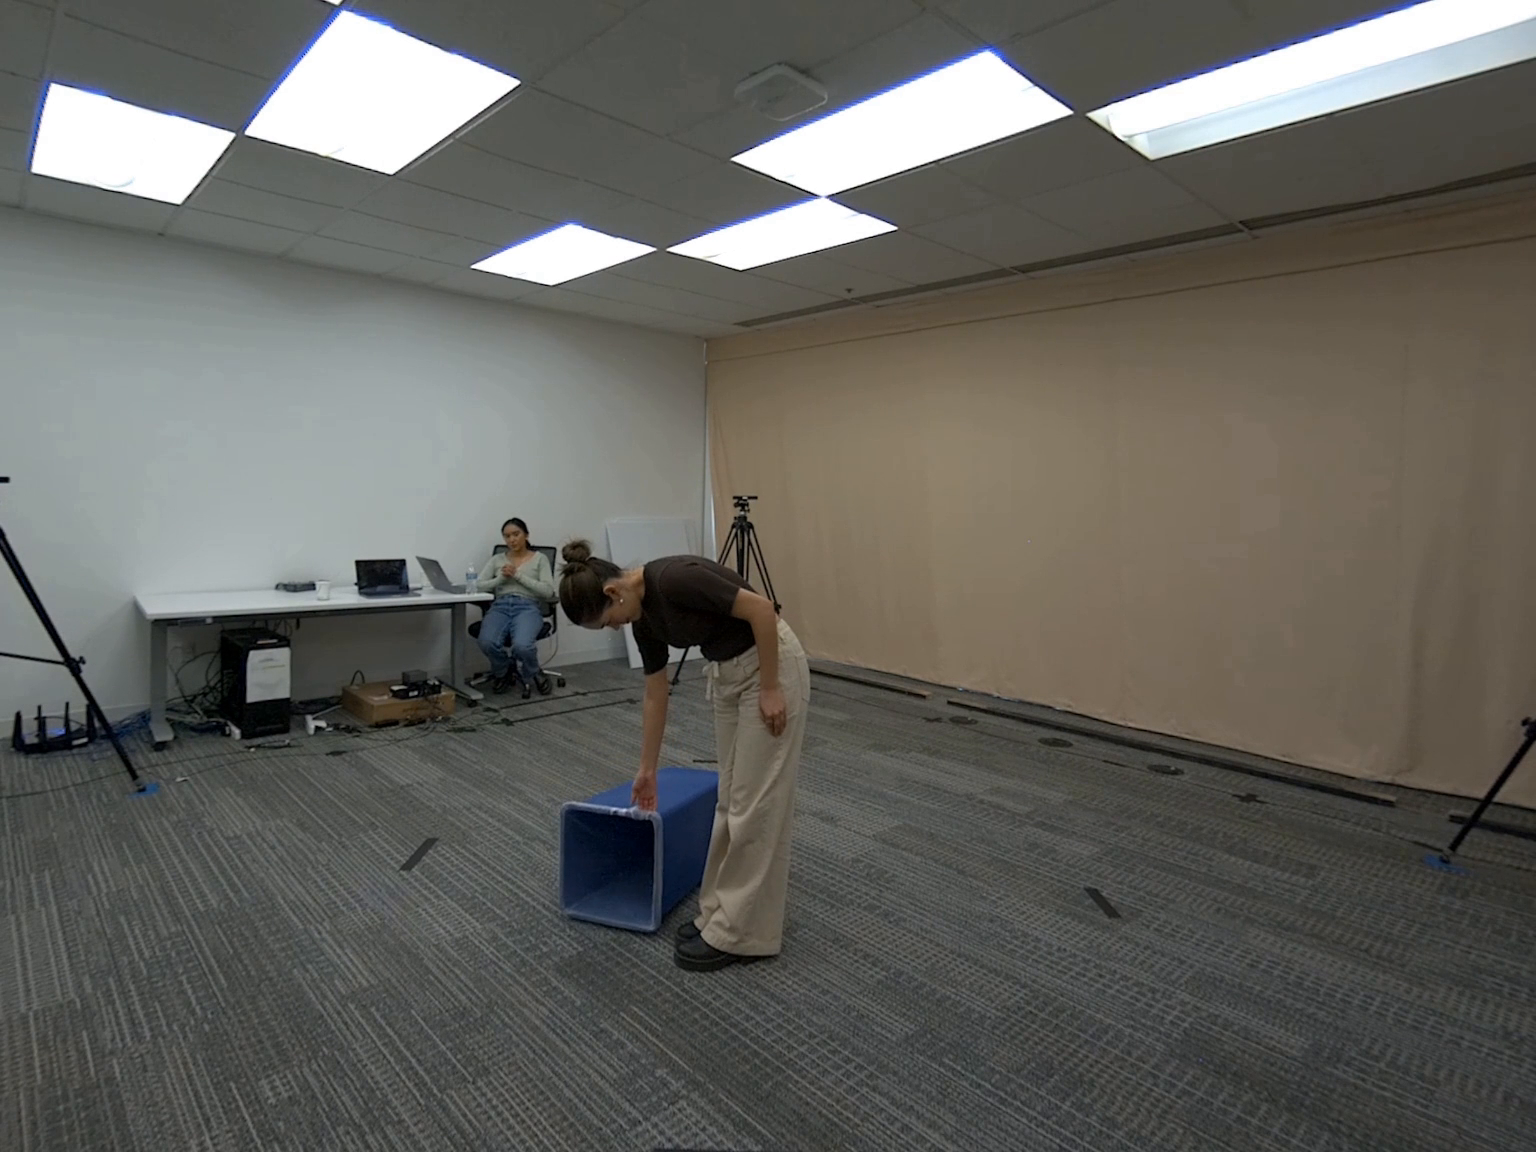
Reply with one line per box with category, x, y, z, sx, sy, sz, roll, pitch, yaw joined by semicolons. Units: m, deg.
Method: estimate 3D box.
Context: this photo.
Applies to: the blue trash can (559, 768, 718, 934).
blue trash can;-0.398;0.930;3.022;0.385;0.374;0.701;1;0;22
